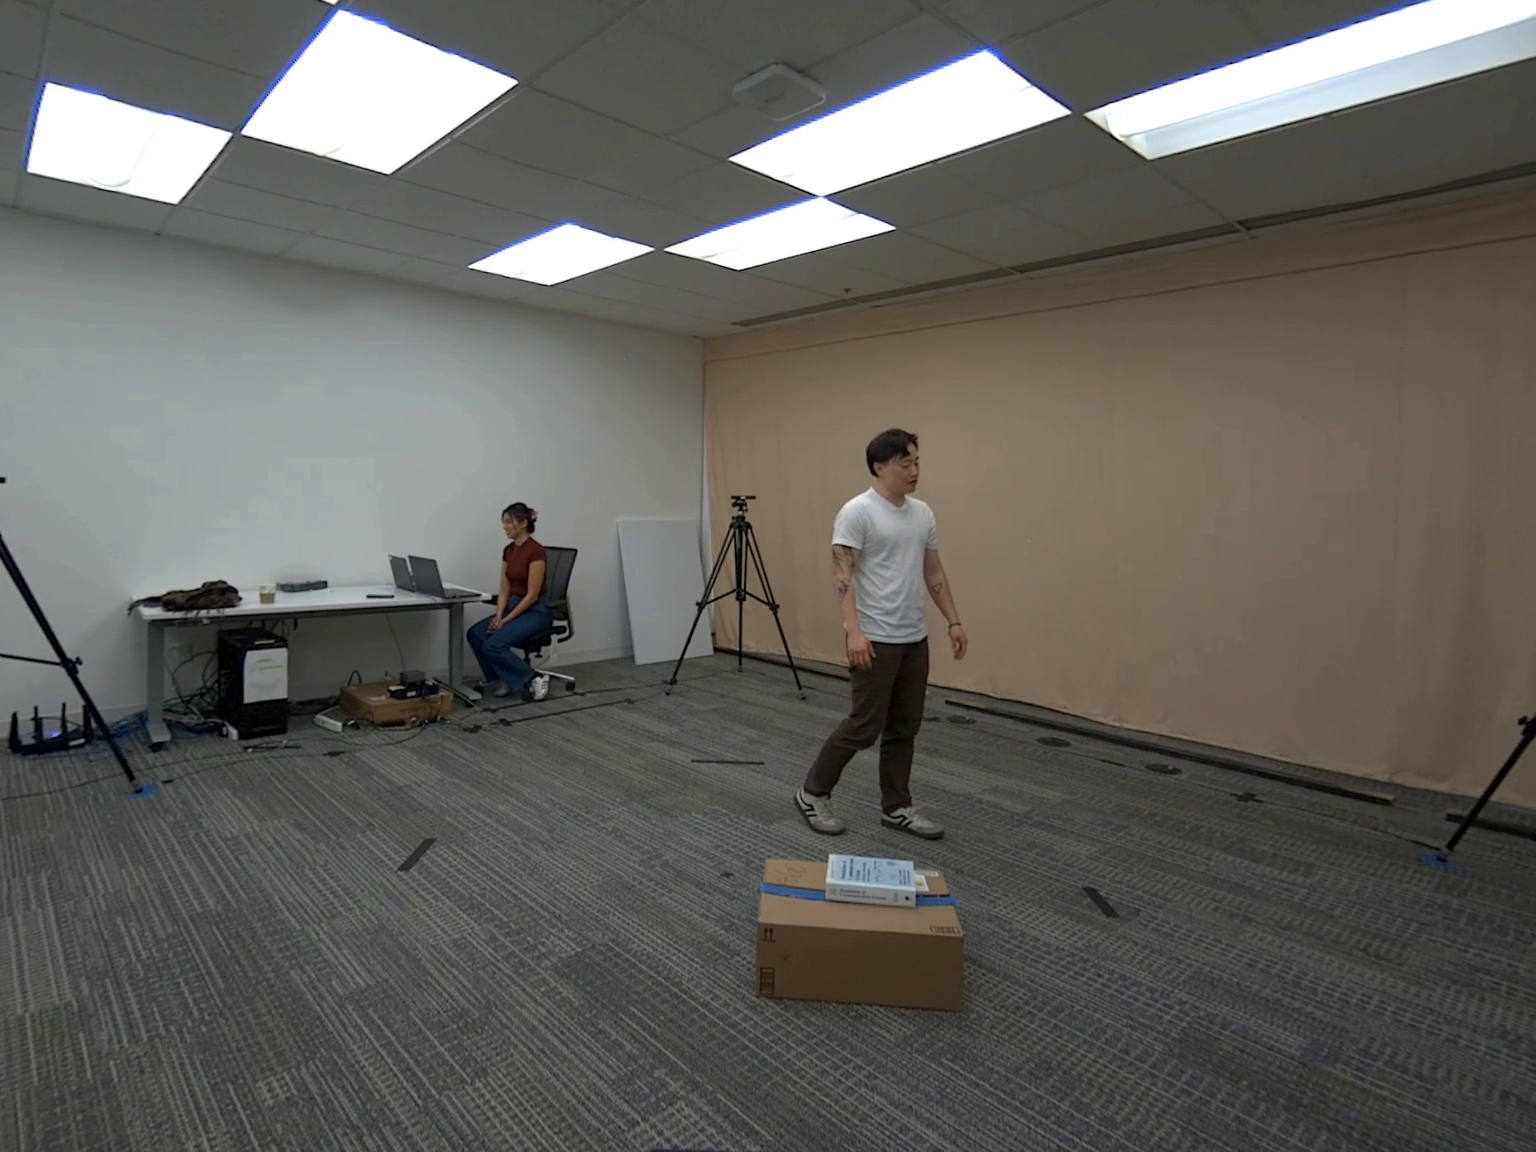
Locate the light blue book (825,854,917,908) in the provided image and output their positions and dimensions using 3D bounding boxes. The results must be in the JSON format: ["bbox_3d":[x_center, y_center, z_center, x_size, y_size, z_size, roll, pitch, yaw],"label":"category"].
[{"bbox_3d":[0.306,0.929,2.554,0.263,0.059,0.191,2,6,9],"label":"light blue book"}]
